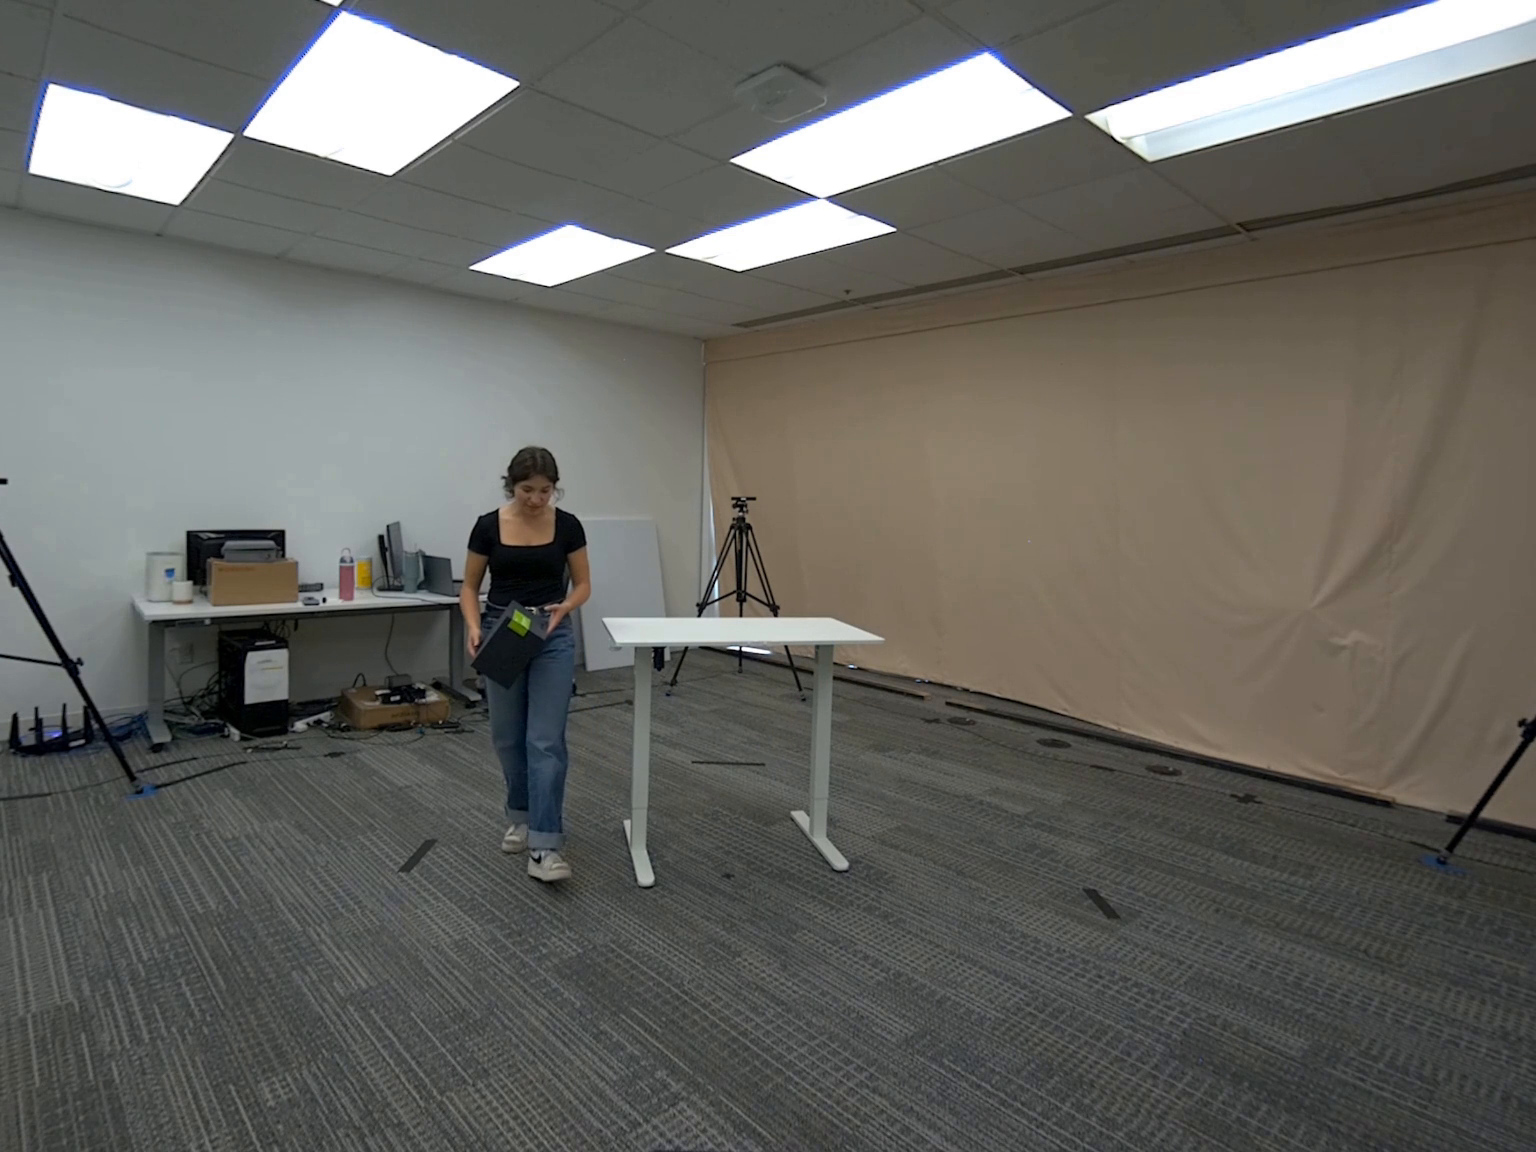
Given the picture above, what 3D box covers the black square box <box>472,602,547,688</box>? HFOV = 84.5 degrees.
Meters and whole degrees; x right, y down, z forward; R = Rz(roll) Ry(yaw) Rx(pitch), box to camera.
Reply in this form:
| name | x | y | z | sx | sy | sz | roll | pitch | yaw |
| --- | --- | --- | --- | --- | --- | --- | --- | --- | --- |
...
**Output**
| name | x | y | z | sx | sy | sz | roll | pitch | yaw |
| --- | --- | --- | --- | --- | --- | --- | --- | --- | --- |
| black square box | -0.915 | 0.237 | 2.958 | 0.153 | 0.217 | 0.231 | 36 | 2 | -15 |
